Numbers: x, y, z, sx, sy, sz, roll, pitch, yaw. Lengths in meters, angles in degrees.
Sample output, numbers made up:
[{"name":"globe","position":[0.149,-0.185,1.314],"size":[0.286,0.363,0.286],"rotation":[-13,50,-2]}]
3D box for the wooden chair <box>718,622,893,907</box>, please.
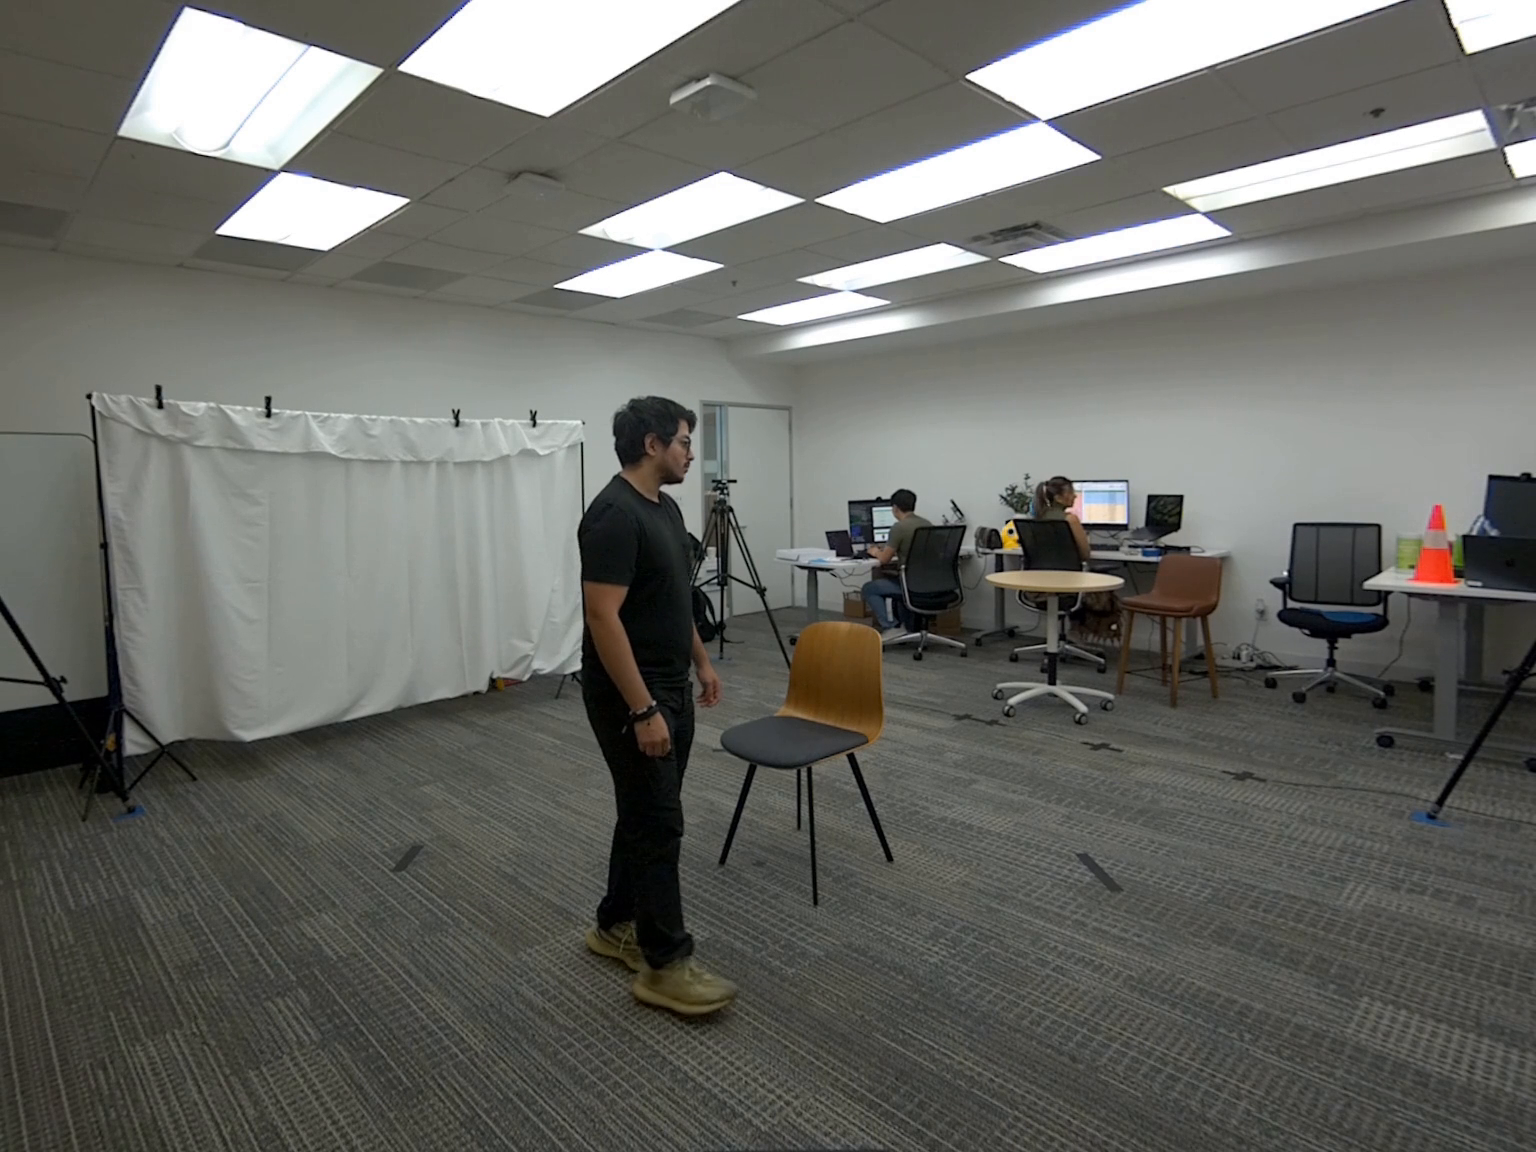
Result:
[{"name":"wooden chair","position":[0.129,0.620,3.070],"size":[0.493,0.877,0.508],"rotation":[3,1,44]}]
